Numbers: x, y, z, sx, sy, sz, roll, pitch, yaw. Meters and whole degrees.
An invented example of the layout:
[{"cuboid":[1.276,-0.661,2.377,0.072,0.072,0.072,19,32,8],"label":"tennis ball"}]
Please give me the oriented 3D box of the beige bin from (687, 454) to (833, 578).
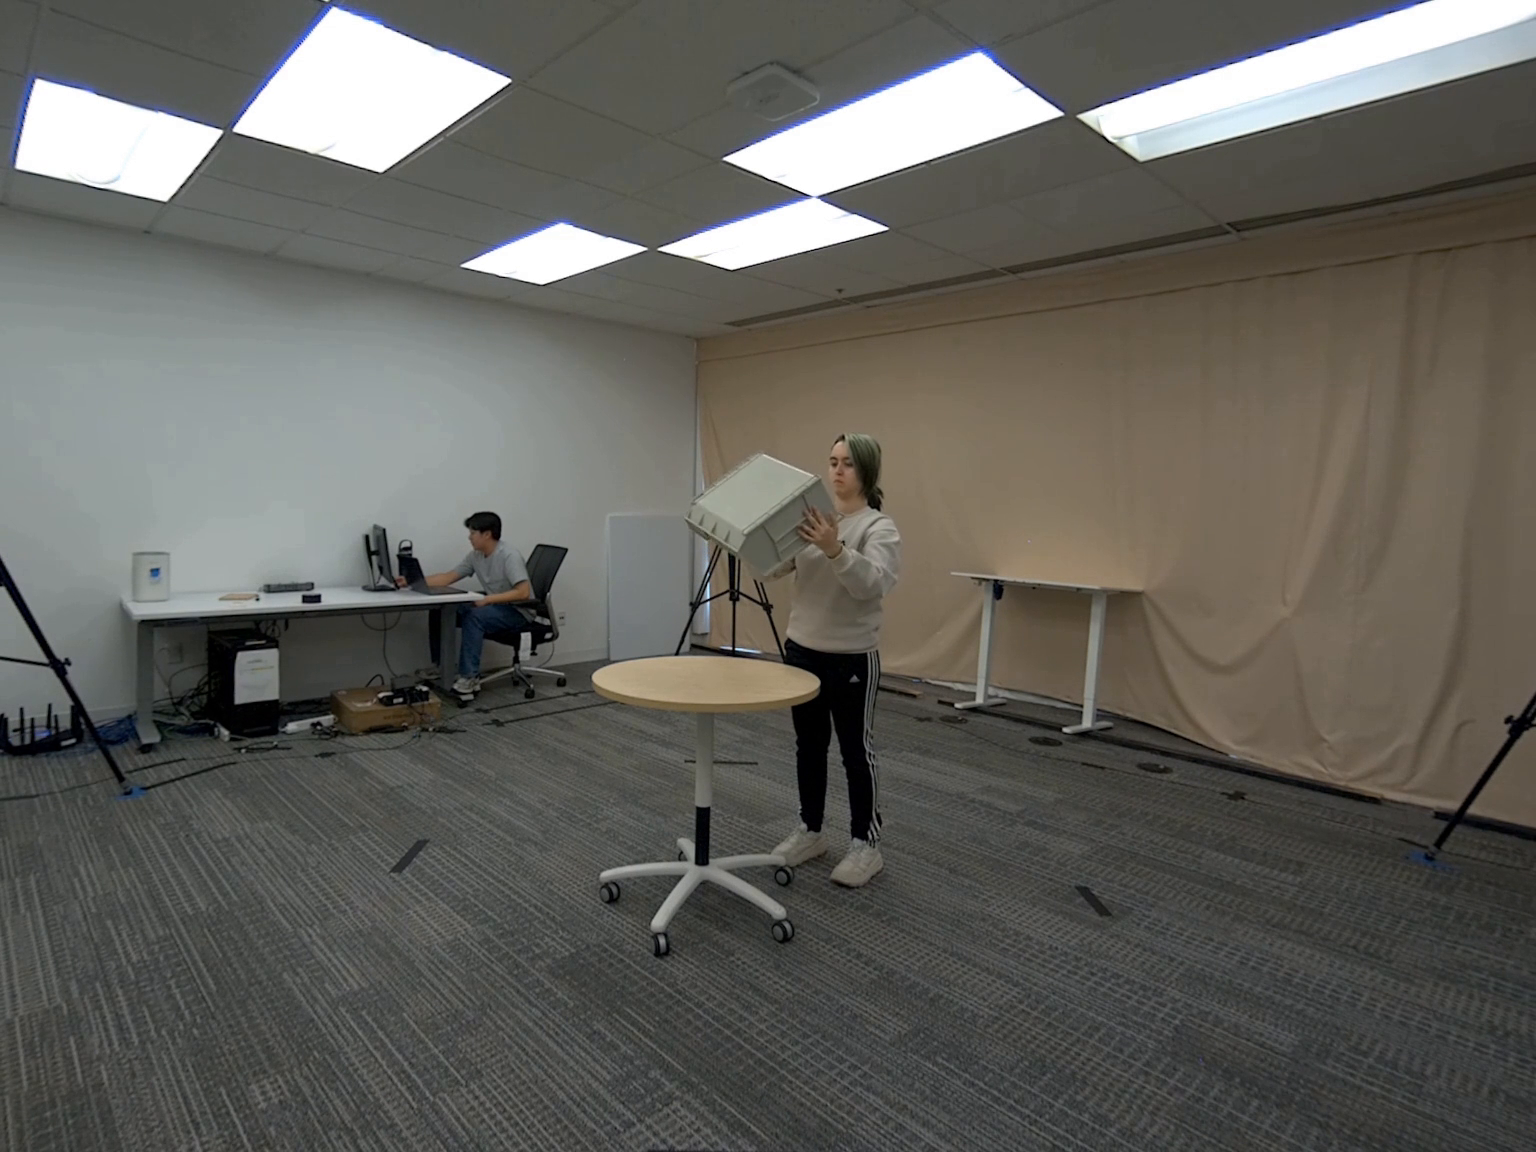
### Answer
[{"cuboid":[-0.036,-0.208,2.853,0.376,0.184,0.435,-38,34,-13],"label":"beige bin"}]
